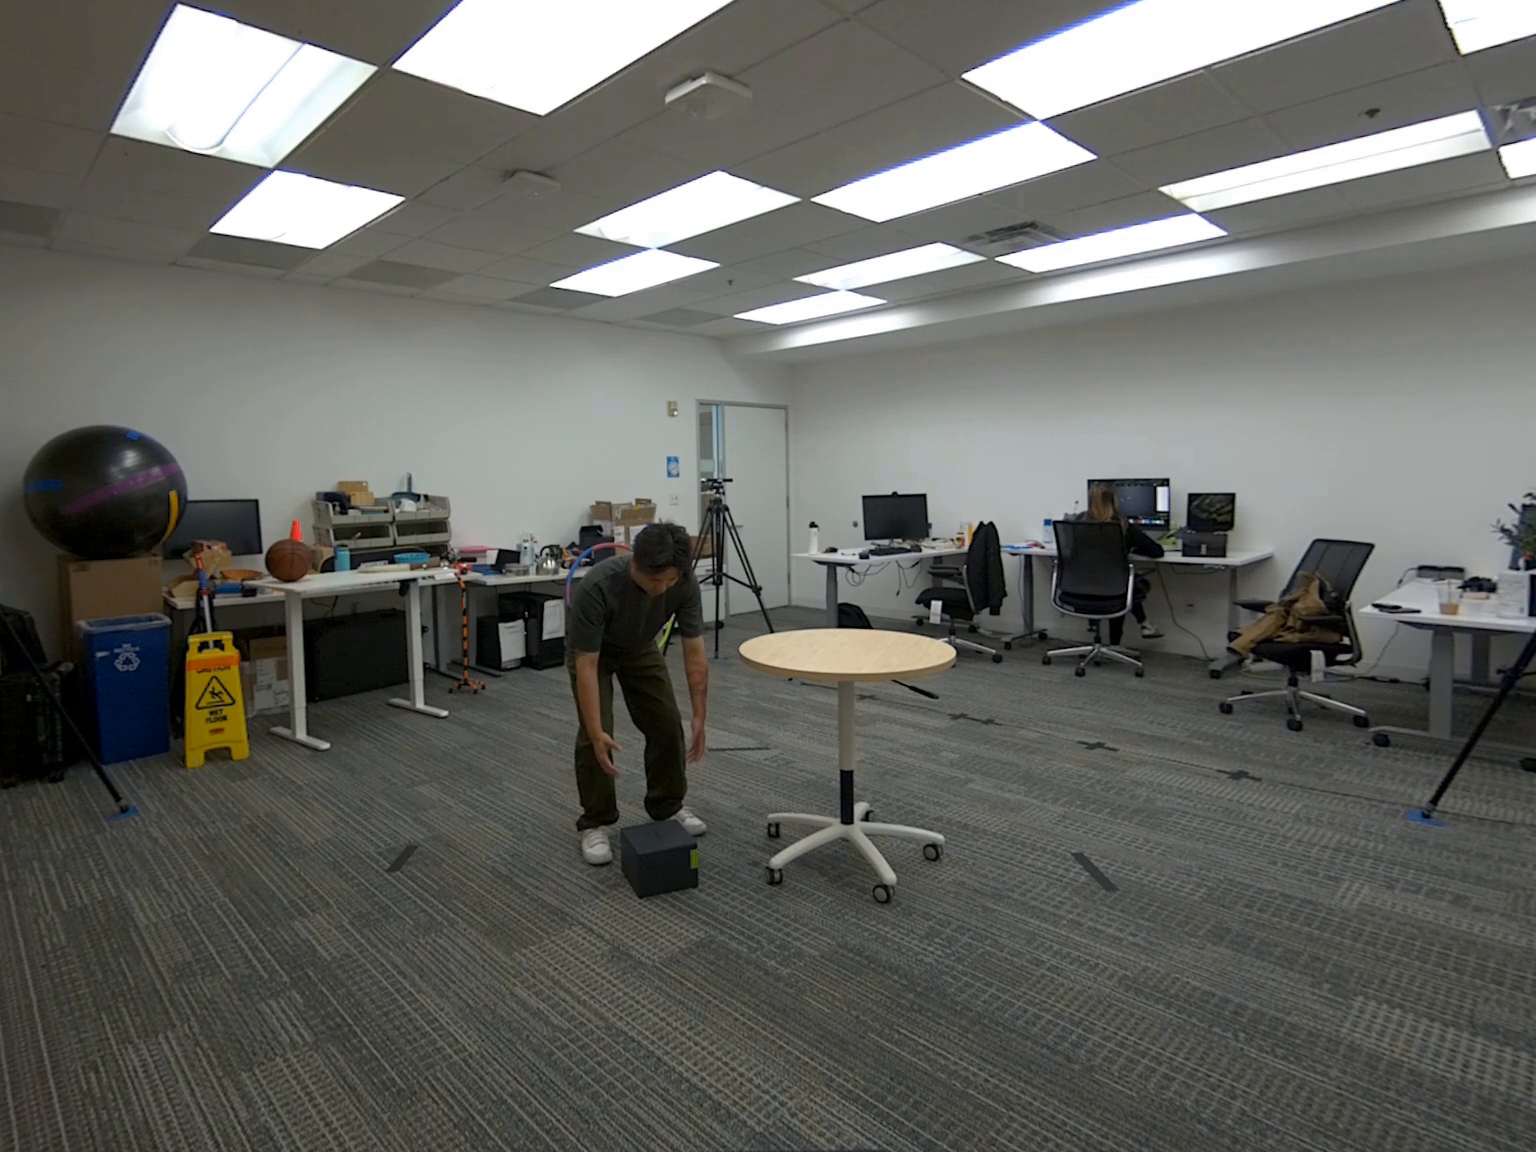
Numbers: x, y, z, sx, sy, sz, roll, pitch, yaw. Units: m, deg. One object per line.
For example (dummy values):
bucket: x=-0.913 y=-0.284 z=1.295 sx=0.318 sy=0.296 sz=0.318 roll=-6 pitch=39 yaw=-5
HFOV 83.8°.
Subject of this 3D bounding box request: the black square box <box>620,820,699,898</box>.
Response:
black square box: x=-0.380 y=0.982 z=2.988 sx=0.212 sy=0.155 sz=0.234 roll=-3 pitch=7 yaw=-24
